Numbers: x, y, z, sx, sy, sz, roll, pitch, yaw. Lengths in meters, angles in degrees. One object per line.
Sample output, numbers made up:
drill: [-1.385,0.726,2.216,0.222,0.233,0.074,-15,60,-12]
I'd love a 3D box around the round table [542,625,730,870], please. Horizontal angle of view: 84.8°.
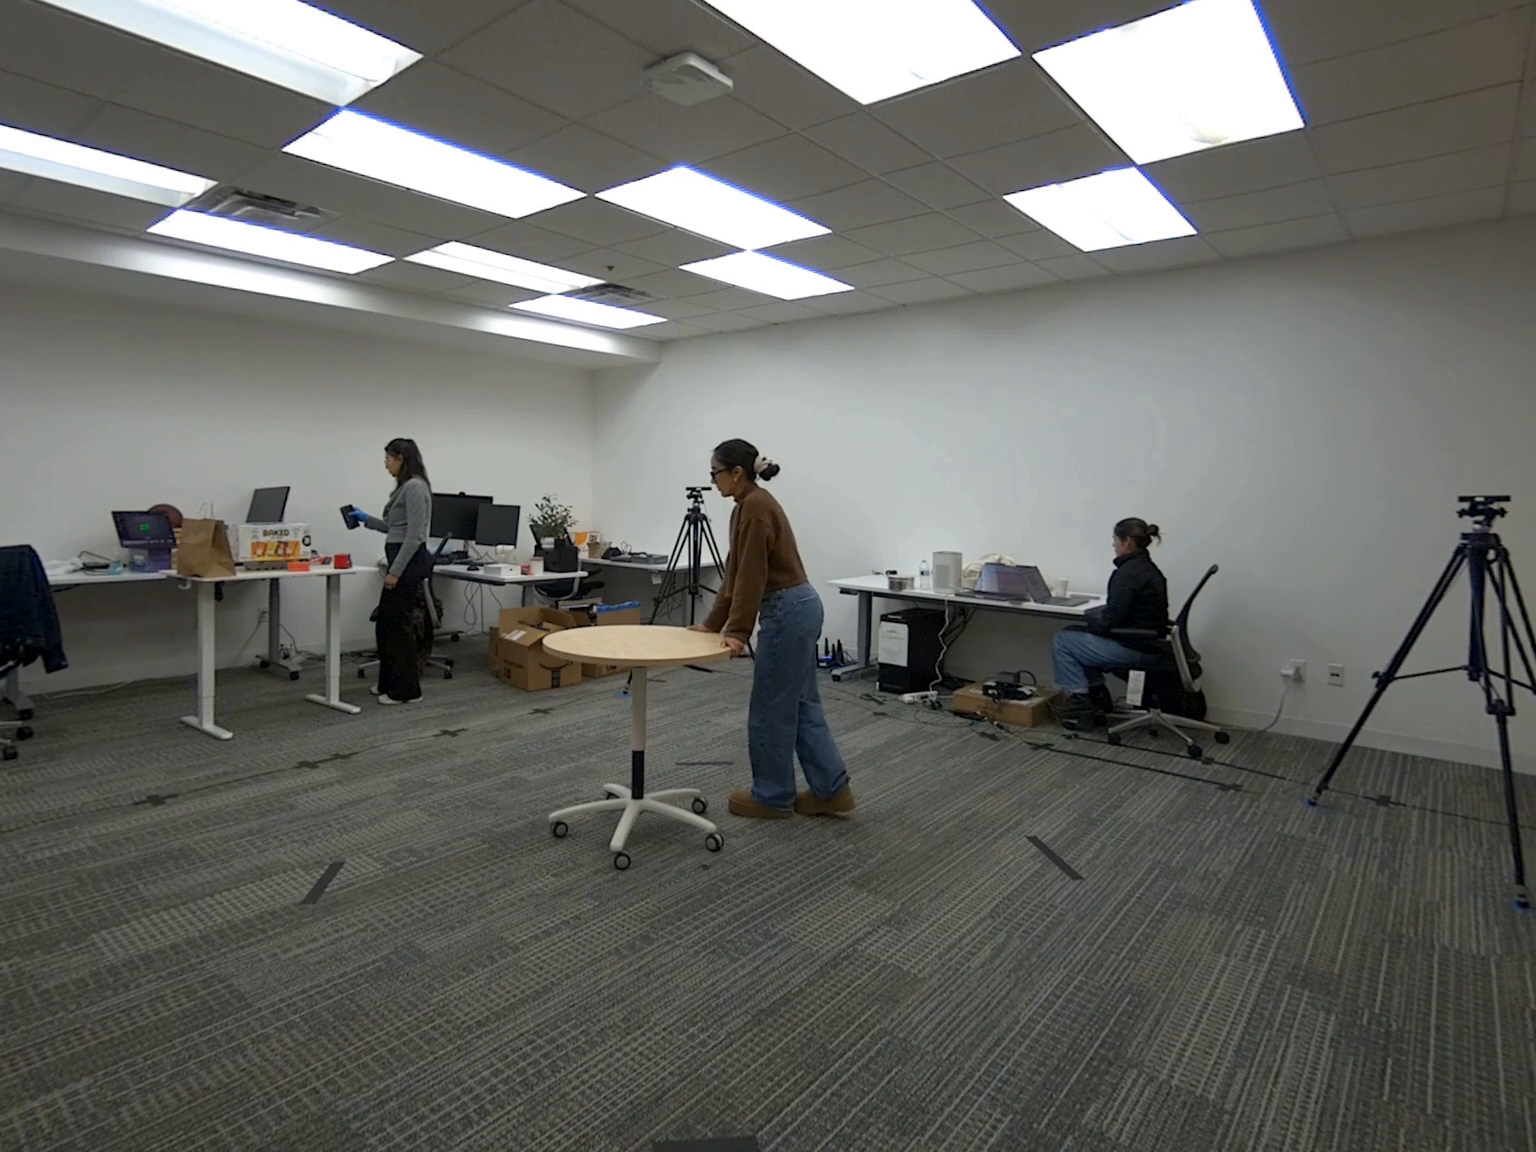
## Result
round table: [-0.525,0.644,3.409,0.763,0.791,0.768,1,4,-2]
